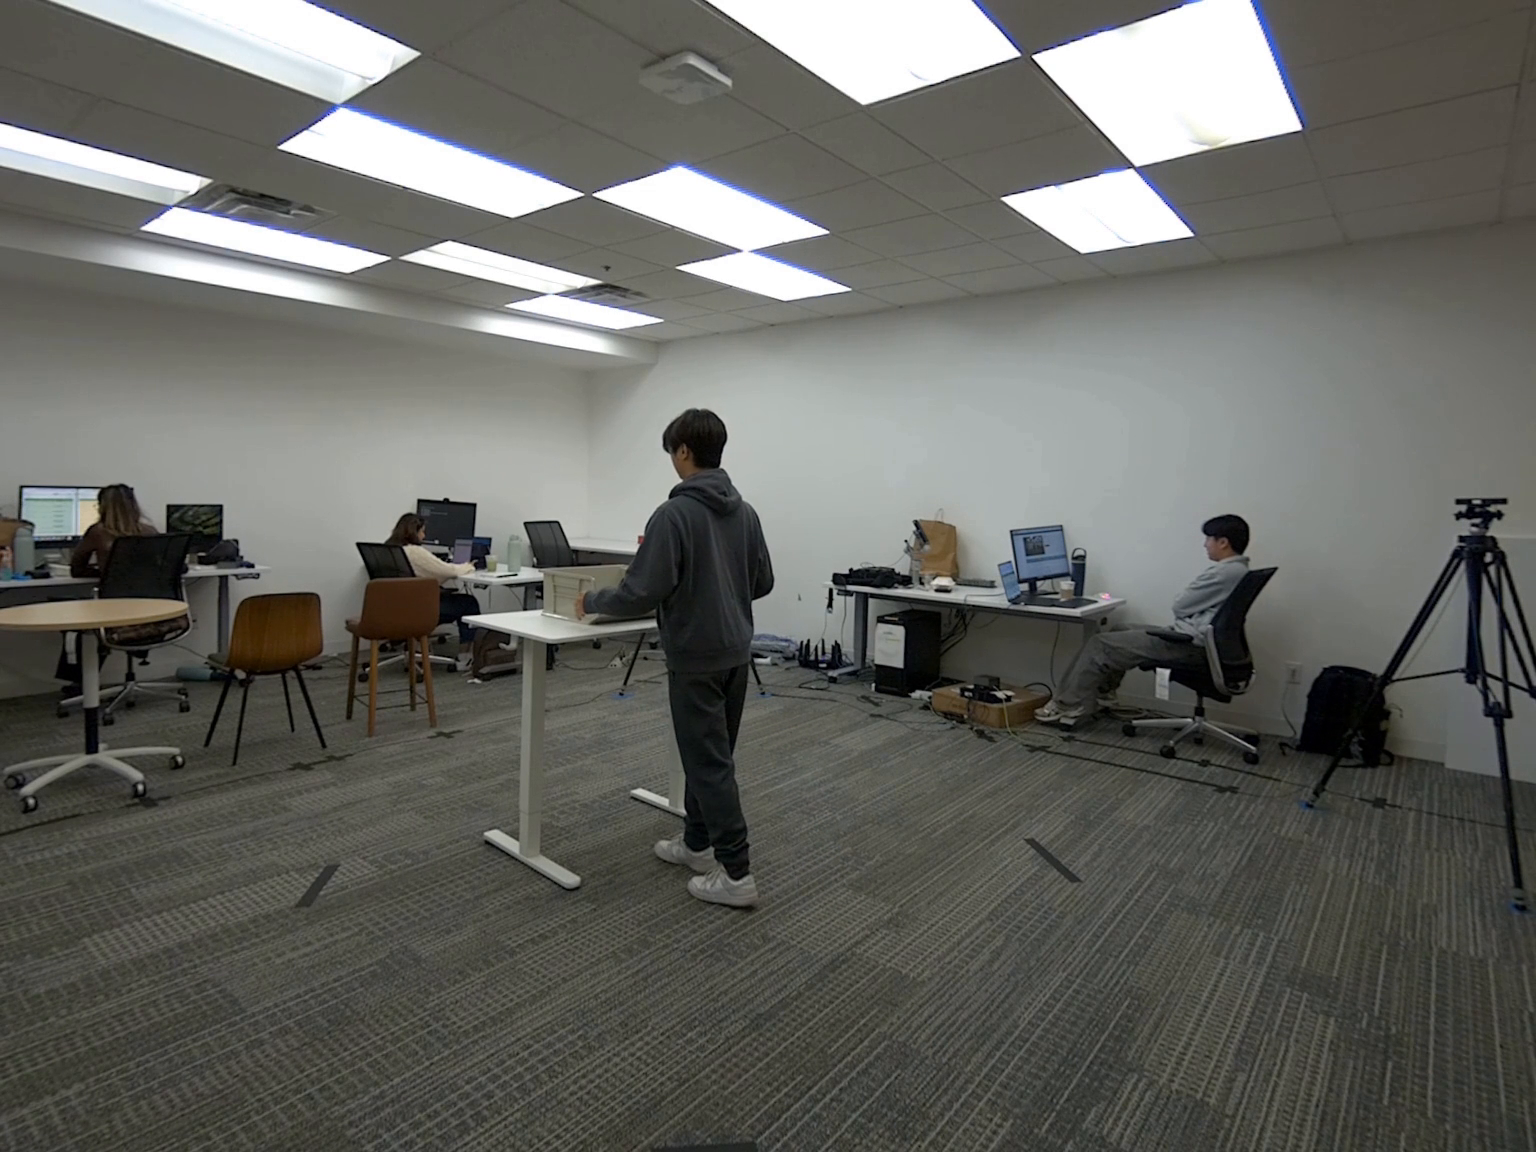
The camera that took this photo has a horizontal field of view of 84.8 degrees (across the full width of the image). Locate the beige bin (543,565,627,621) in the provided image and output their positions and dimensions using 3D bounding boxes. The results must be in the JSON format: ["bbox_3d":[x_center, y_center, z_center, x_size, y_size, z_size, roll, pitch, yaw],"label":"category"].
[{"bbox_3d":[-0.626,0.069,3.343,0.390,0.188,0.410,6,7,43],"label":"beige bin"}]
